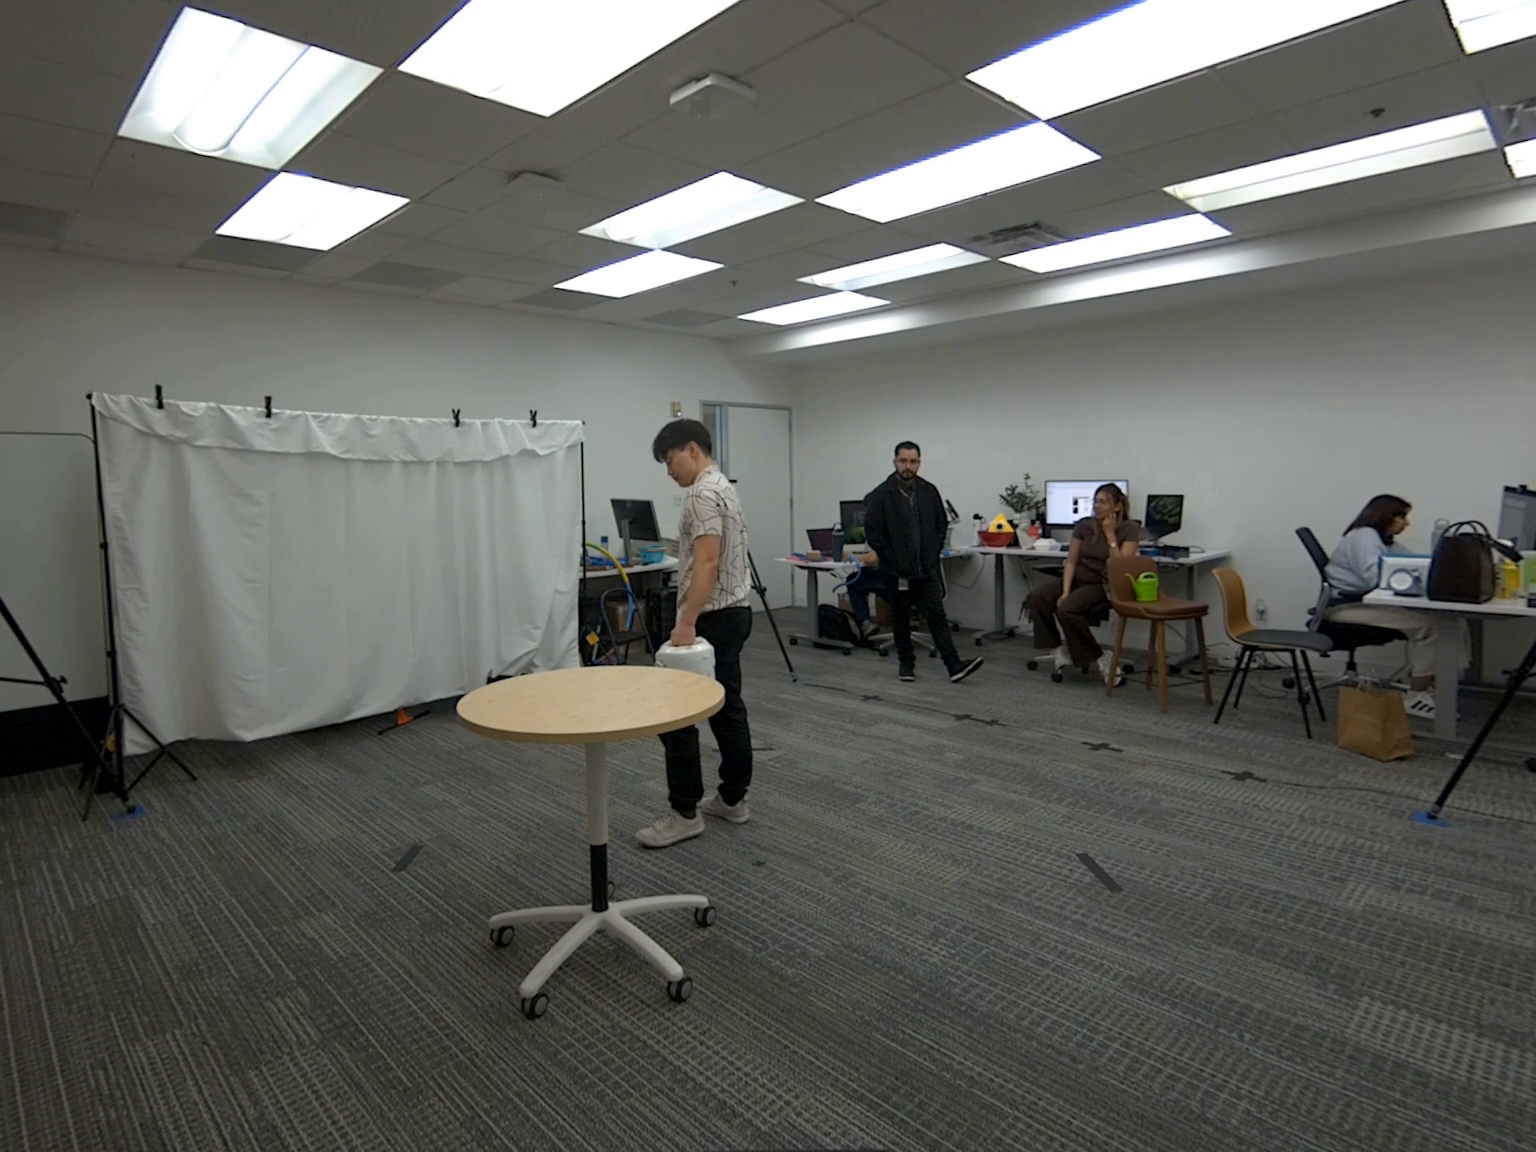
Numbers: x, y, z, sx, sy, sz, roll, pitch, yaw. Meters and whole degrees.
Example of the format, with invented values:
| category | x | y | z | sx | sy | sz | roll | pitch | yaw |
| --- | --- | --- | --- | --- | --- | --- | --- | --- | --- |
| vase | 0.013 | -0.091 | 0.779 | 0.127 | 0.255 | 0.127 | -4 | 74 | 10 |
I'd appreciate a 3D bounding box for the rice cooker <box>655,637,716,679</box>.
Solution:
| category | x | y | z | sx | sy | sz | roll | pitch | yaw |
| --- | --- | --- | --- | --- | --- | --- | --- | --- | --- |
| rice cooker | -0.310 | 0.346 | 3.204 | 0.222 | 0.232 | 0.217 | -6 | 4 | 5 |
